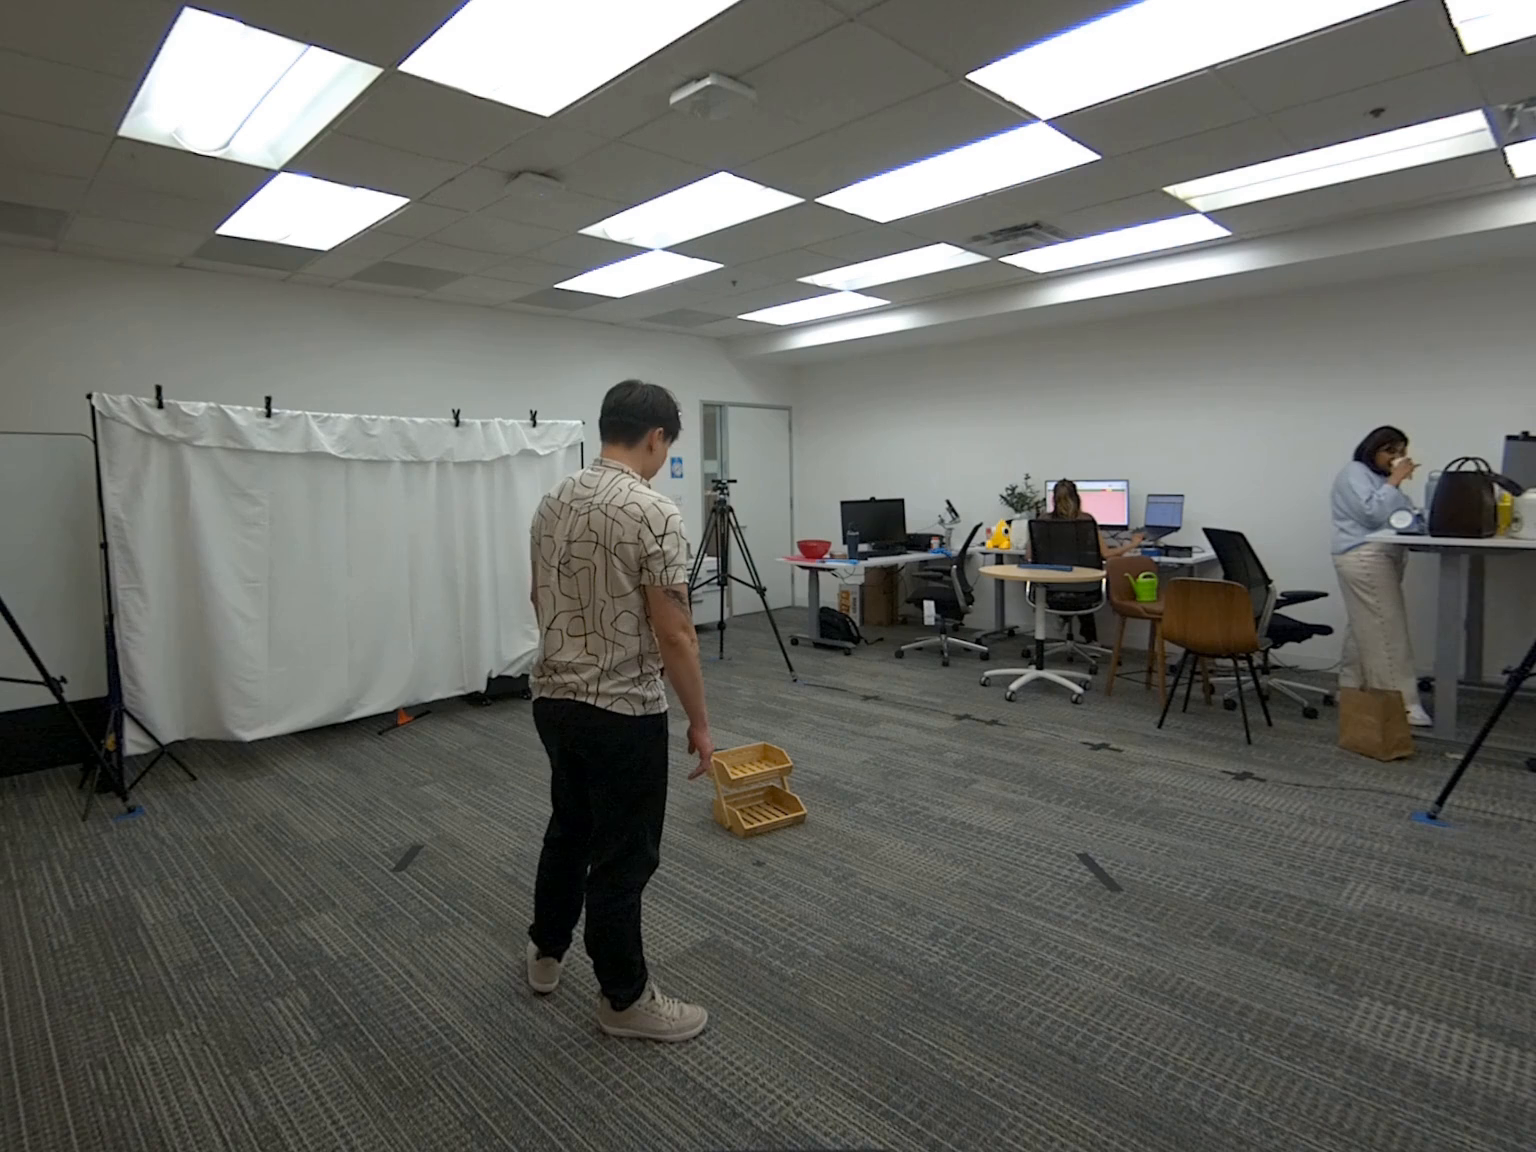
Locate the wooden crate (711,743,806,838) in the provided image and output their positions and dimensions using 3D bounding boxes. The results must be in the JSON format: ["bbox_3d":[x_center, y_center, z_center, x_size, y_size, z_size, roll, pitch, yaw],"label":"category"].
[{"bbox_3d":[-0.049,0.865,3.511,0.316,0.272,0.311,-4,6,-33],"label":"wooden crate"}]
